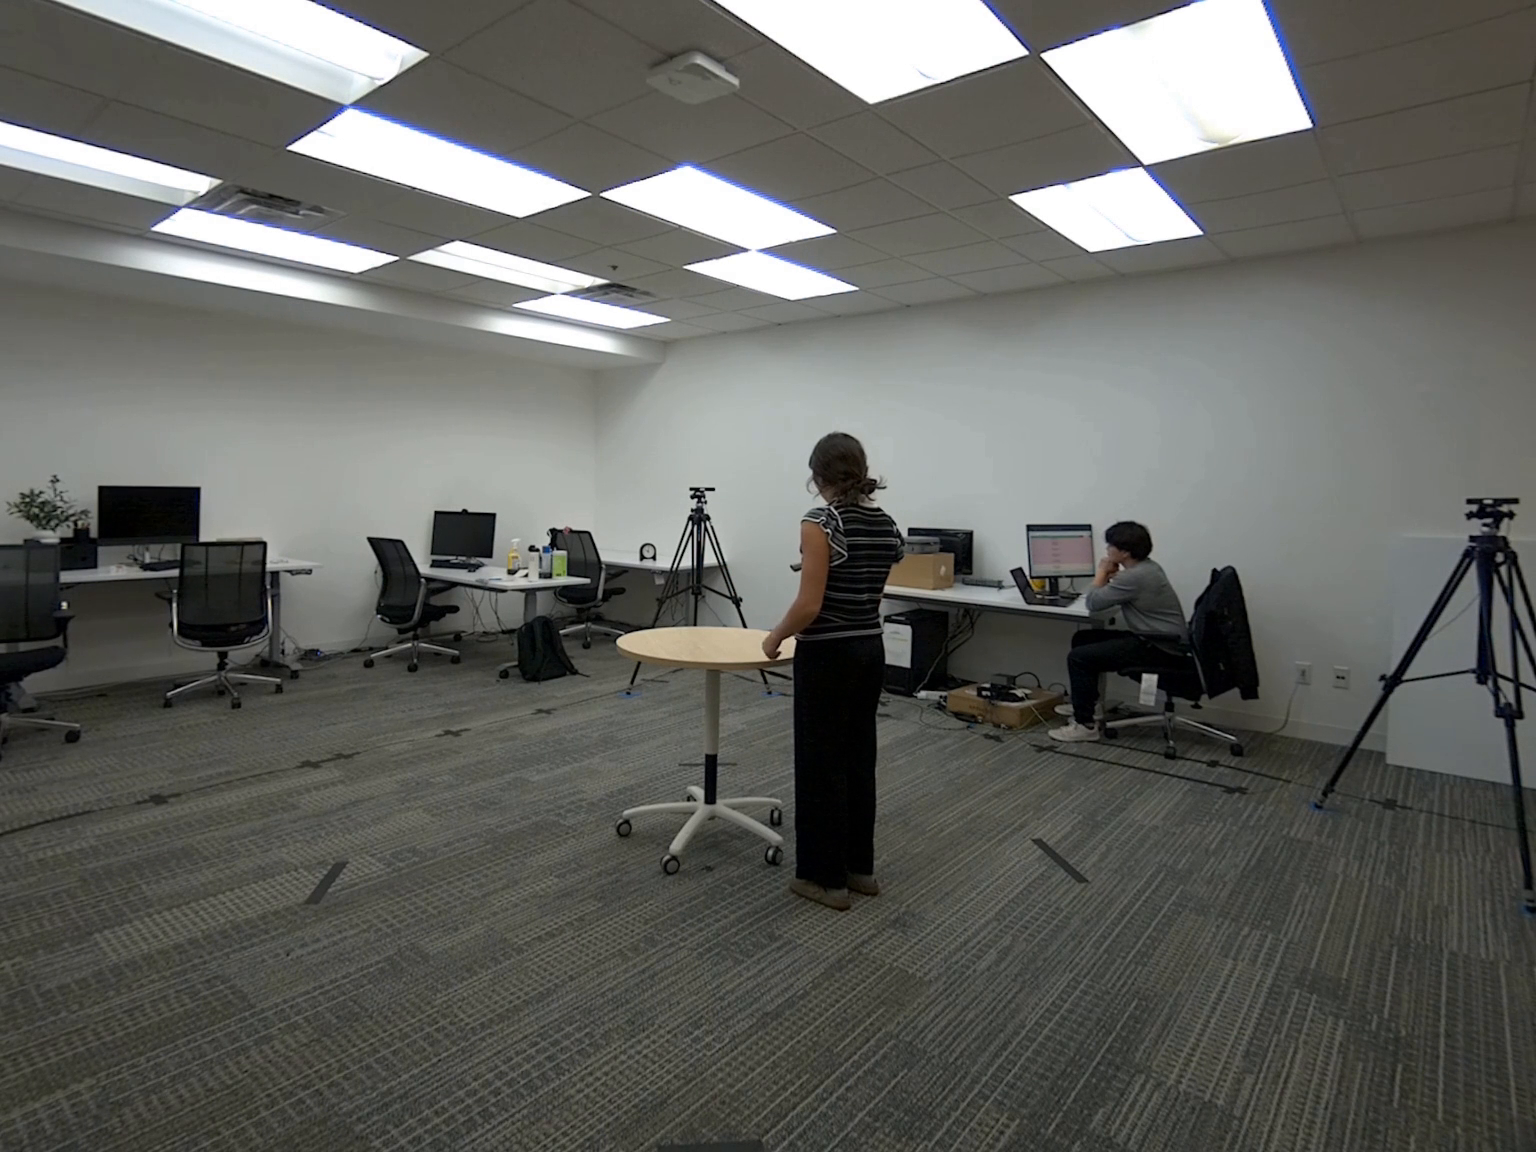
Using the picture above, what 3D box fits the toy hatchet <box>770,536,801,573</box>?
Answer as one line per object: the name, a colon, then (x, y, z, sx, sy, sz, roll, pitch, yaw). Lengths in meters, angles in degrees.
toy hatchet: (0.152, -0.103, 3.275, 0.265, 0.029, 0.136, -25, 46, -37)
